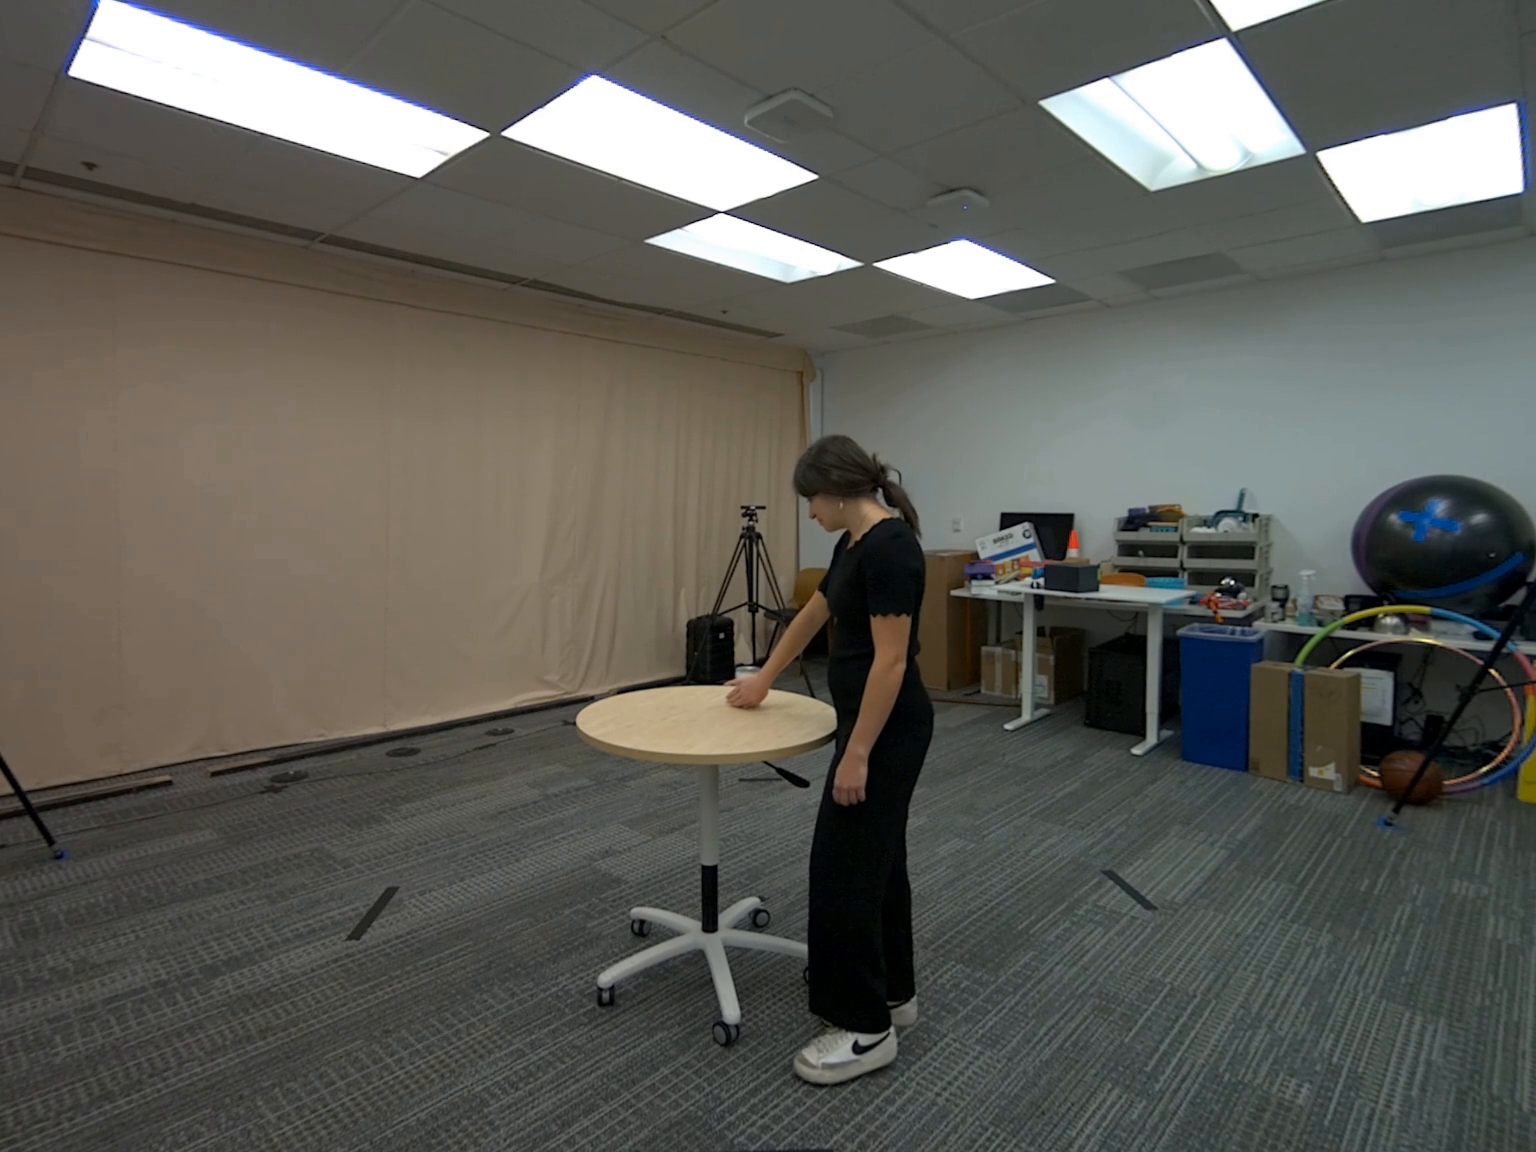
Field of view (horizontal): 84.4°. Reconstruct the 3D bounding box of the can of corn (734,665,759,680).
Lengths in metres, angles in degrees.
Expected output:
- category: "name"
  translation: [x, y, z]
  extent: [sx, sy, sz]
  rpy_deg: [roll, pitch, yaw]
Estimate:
- category: "can of corn"
  translation: [-0.059, 0.341, 2.559]
  extent: [0.074, 0.110, 0.074]
  rpy_deg: [1, 6, -2]
